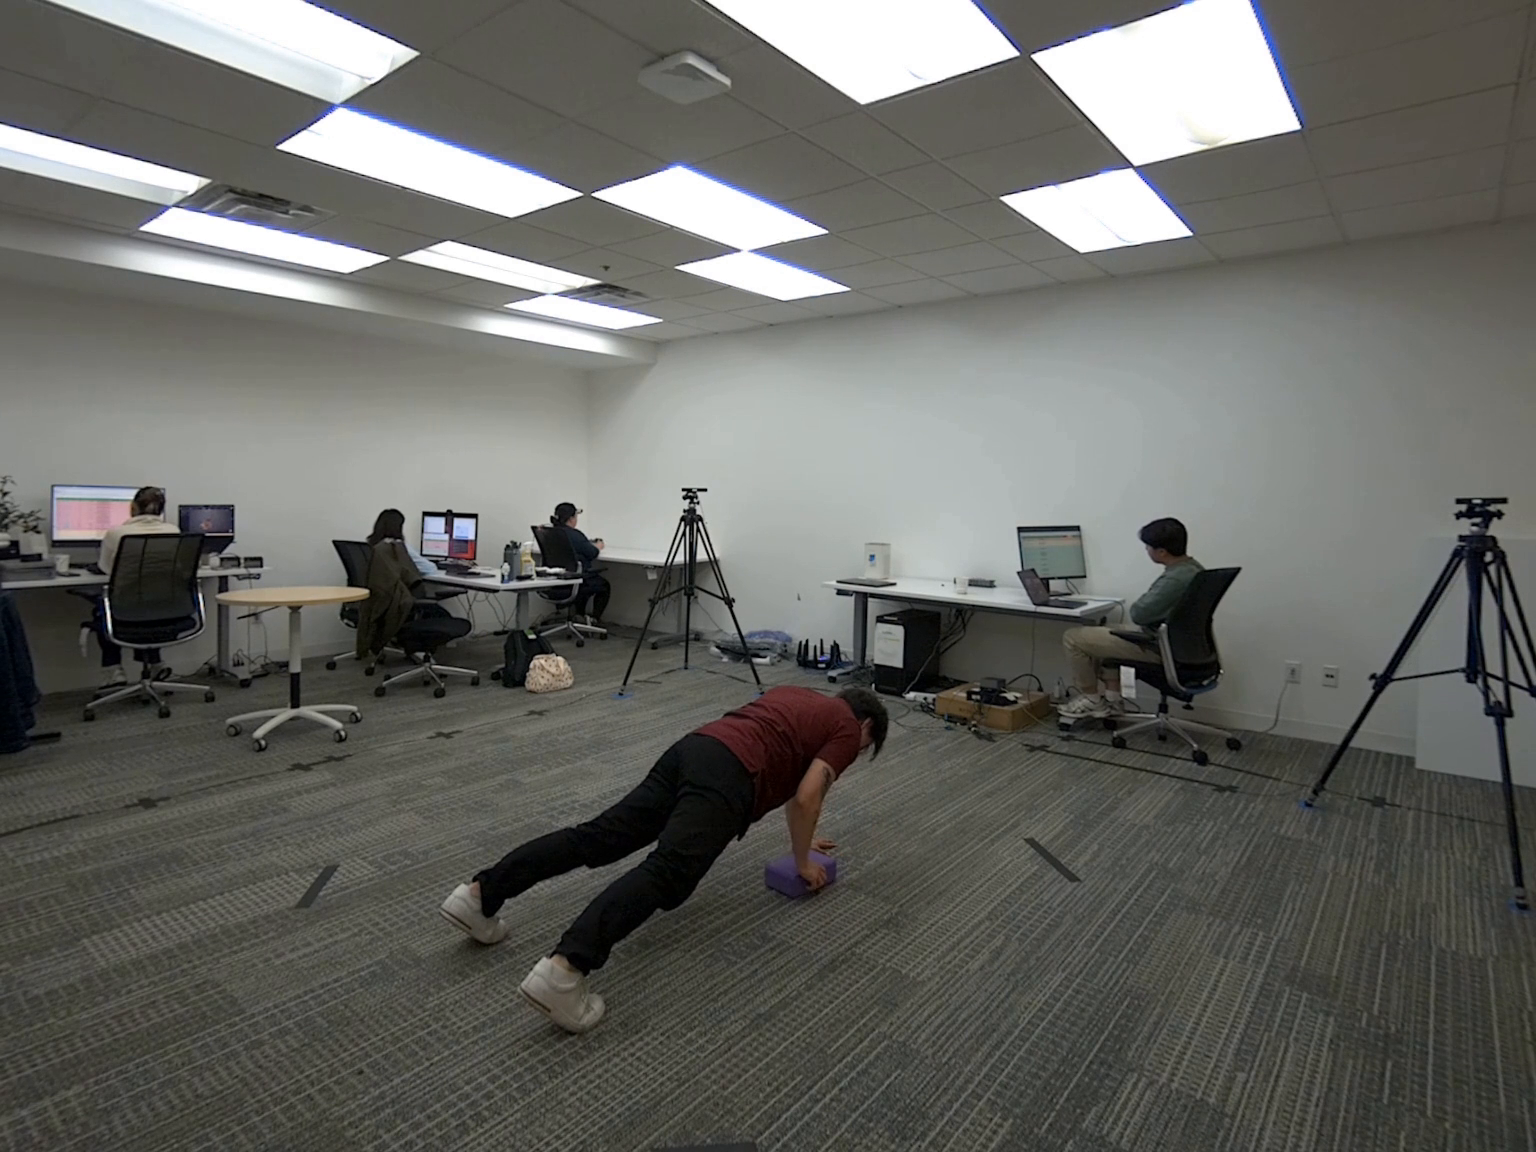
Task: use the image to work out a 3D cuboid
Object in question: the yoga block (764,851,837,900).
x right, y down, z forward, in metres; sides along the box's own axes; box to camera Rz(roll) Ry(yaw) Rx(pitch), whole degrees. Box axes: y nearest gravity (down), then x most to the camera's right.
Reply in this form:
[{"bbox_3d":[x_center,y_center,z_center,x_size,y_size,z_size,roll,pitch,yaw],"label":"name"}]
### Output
[{"bbox_3d":[0.110,1.042,3.013,0.222,0.076,0.154,-3,6,-43],"label":"yoga block"}]
